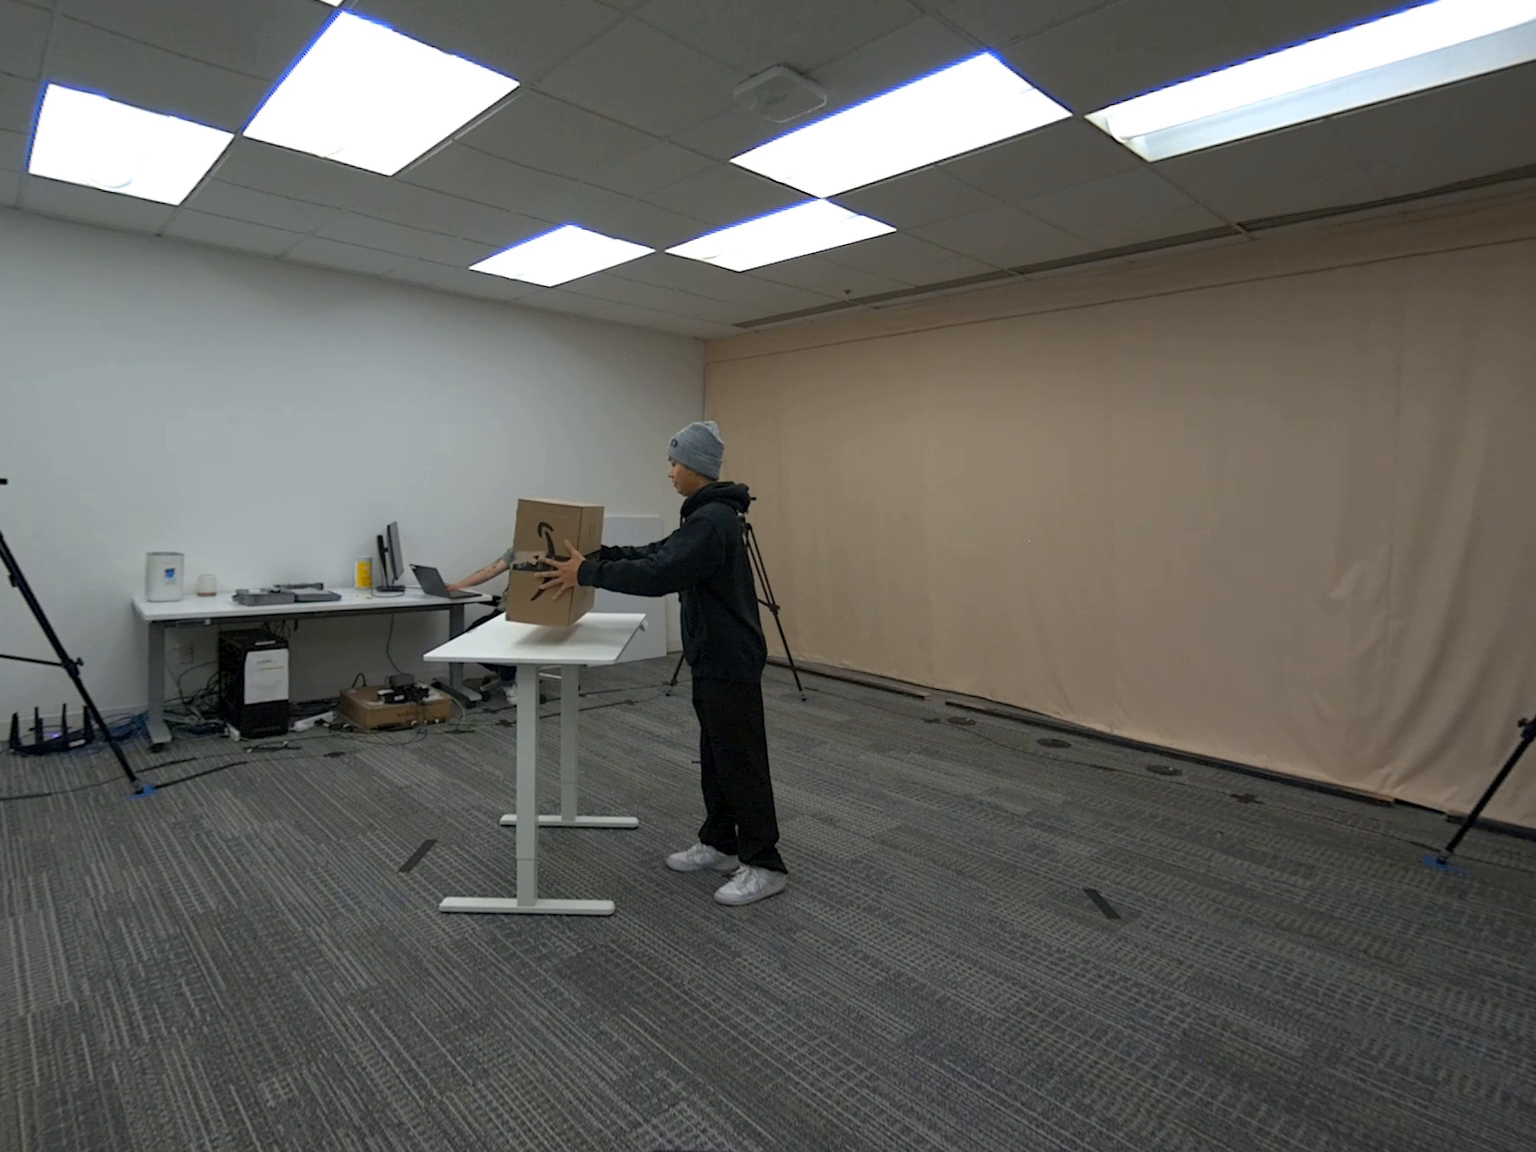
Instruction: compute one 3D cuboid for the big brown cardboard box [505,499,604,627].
[{"bbox_3d":[-0.766,-0.064,3.084,0.232,0.417,0.591,7,3,-4],"label":"big brown cardboard box"}]
